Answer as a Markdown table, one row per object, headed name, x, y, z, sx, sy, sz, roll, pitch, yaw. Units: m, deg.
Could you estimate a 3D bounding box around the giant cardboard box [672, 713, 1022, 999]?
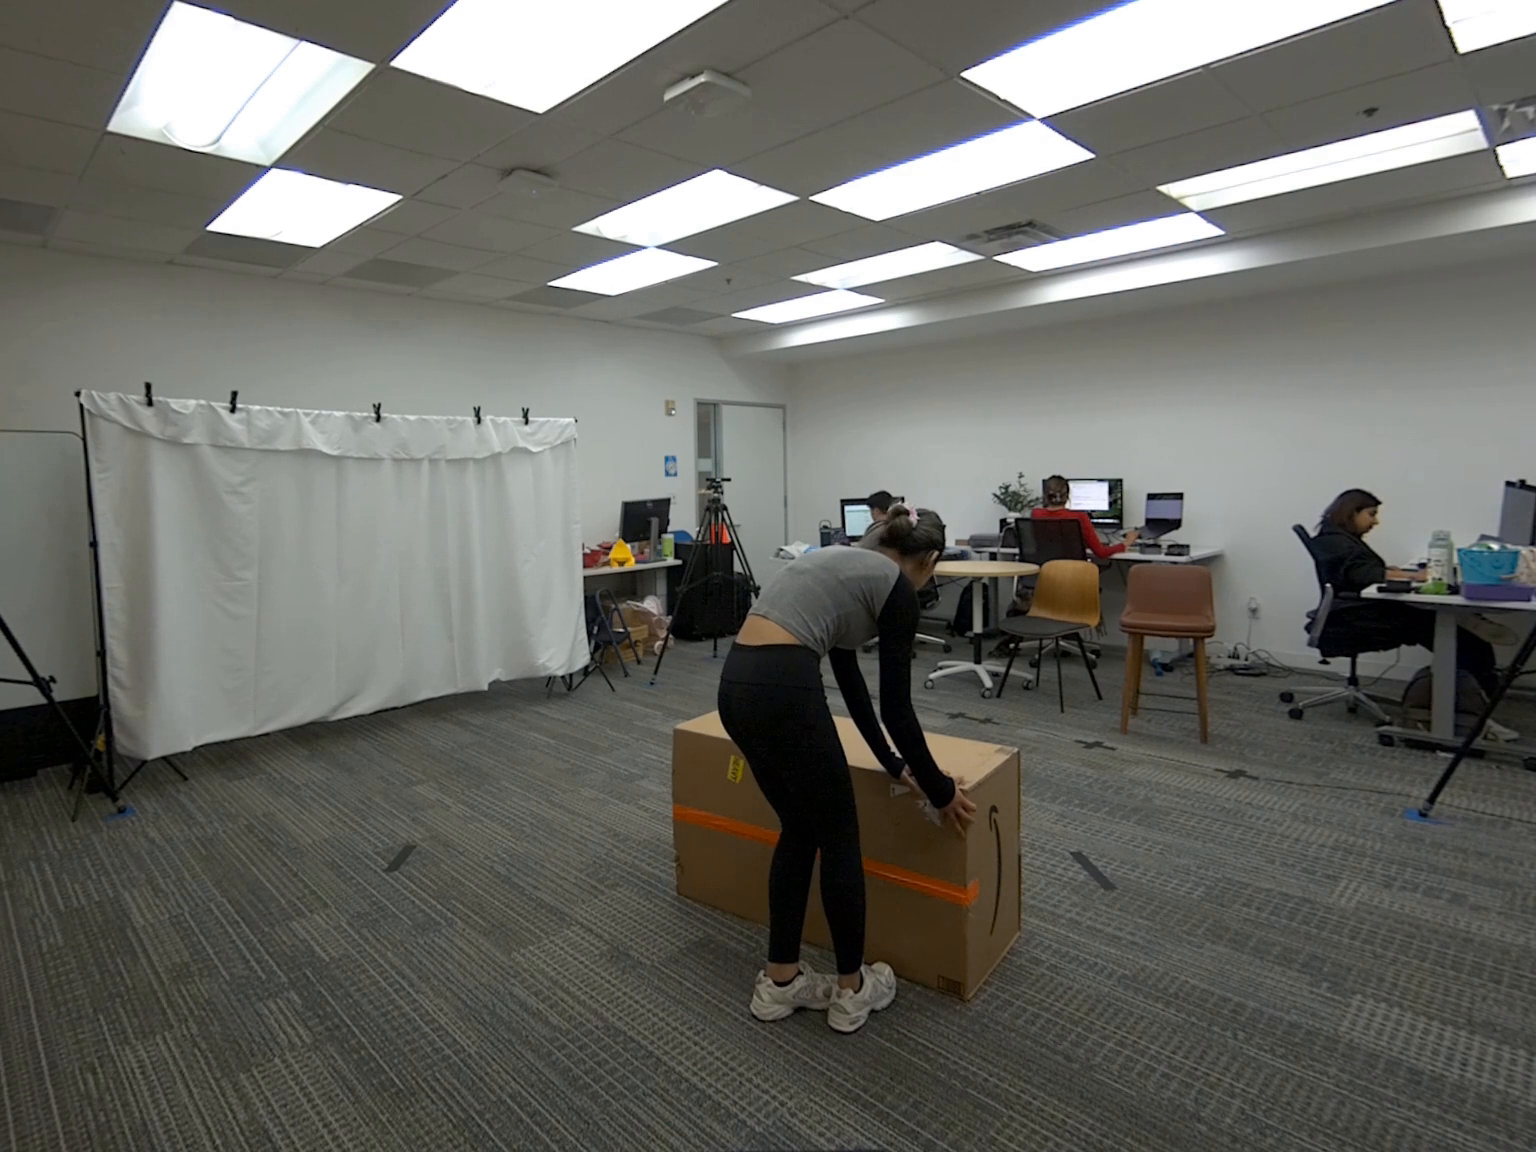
| name | x | y | z | sx | sy | sz | roll | pitch | yaw |
| --- | --- | --- | --- | --- | --- | --- | --- | --- | --- |
| giant cardboard box | 0.221 | 0.795 | 2.723 | 1.057 | 0.581 | 0.436 | 3 | 7 | 36 |
